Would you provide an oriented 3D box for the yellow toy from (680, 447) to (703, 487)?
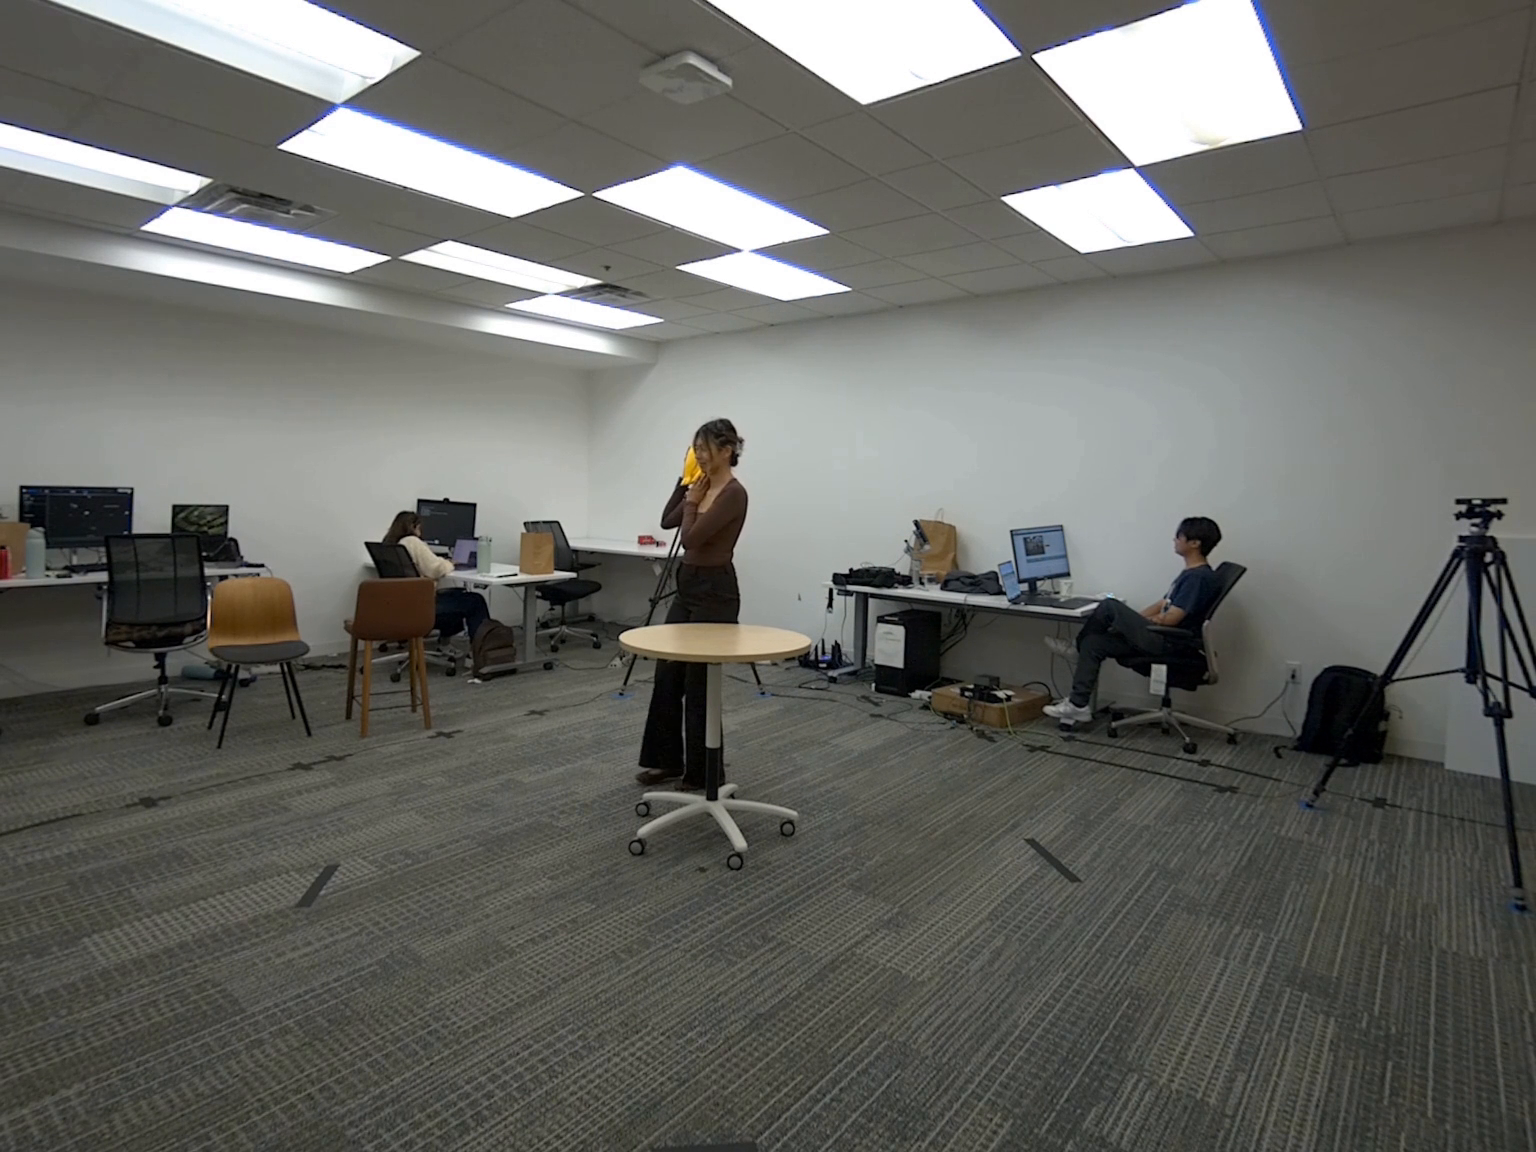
[{"bbox_3d":[-0.343,-0.568,4.029,0.189,0.230,0.210,-12,4,-30],"label":"yellow toy"}]
